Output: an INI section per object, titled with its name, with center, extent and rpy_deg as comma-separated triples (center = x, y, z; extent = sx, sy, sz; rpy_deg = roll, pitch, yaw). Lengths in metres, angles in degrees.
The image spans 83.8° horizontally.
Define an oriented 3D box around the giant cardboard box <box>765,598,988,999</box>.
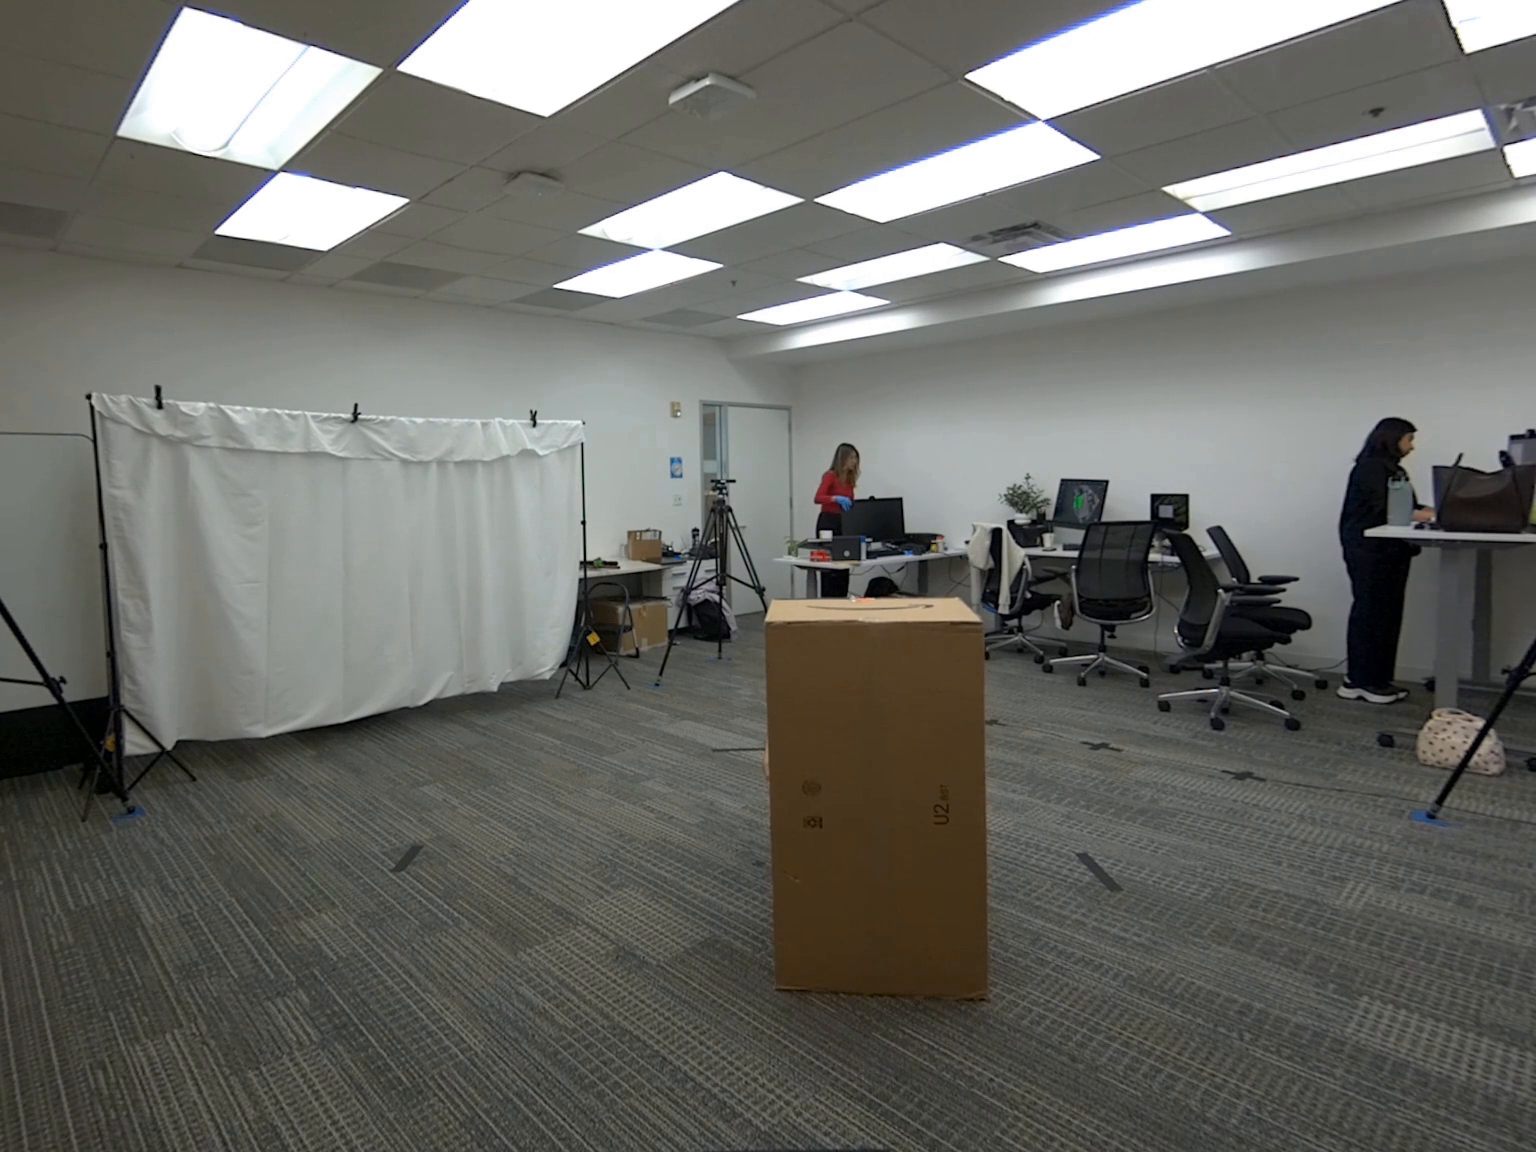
[giant cardboard box]
center = 0.305, 0.602, 2.480
extent = 0.587, 1.023, 0.446
rpy_deg = -1, 5, 5
